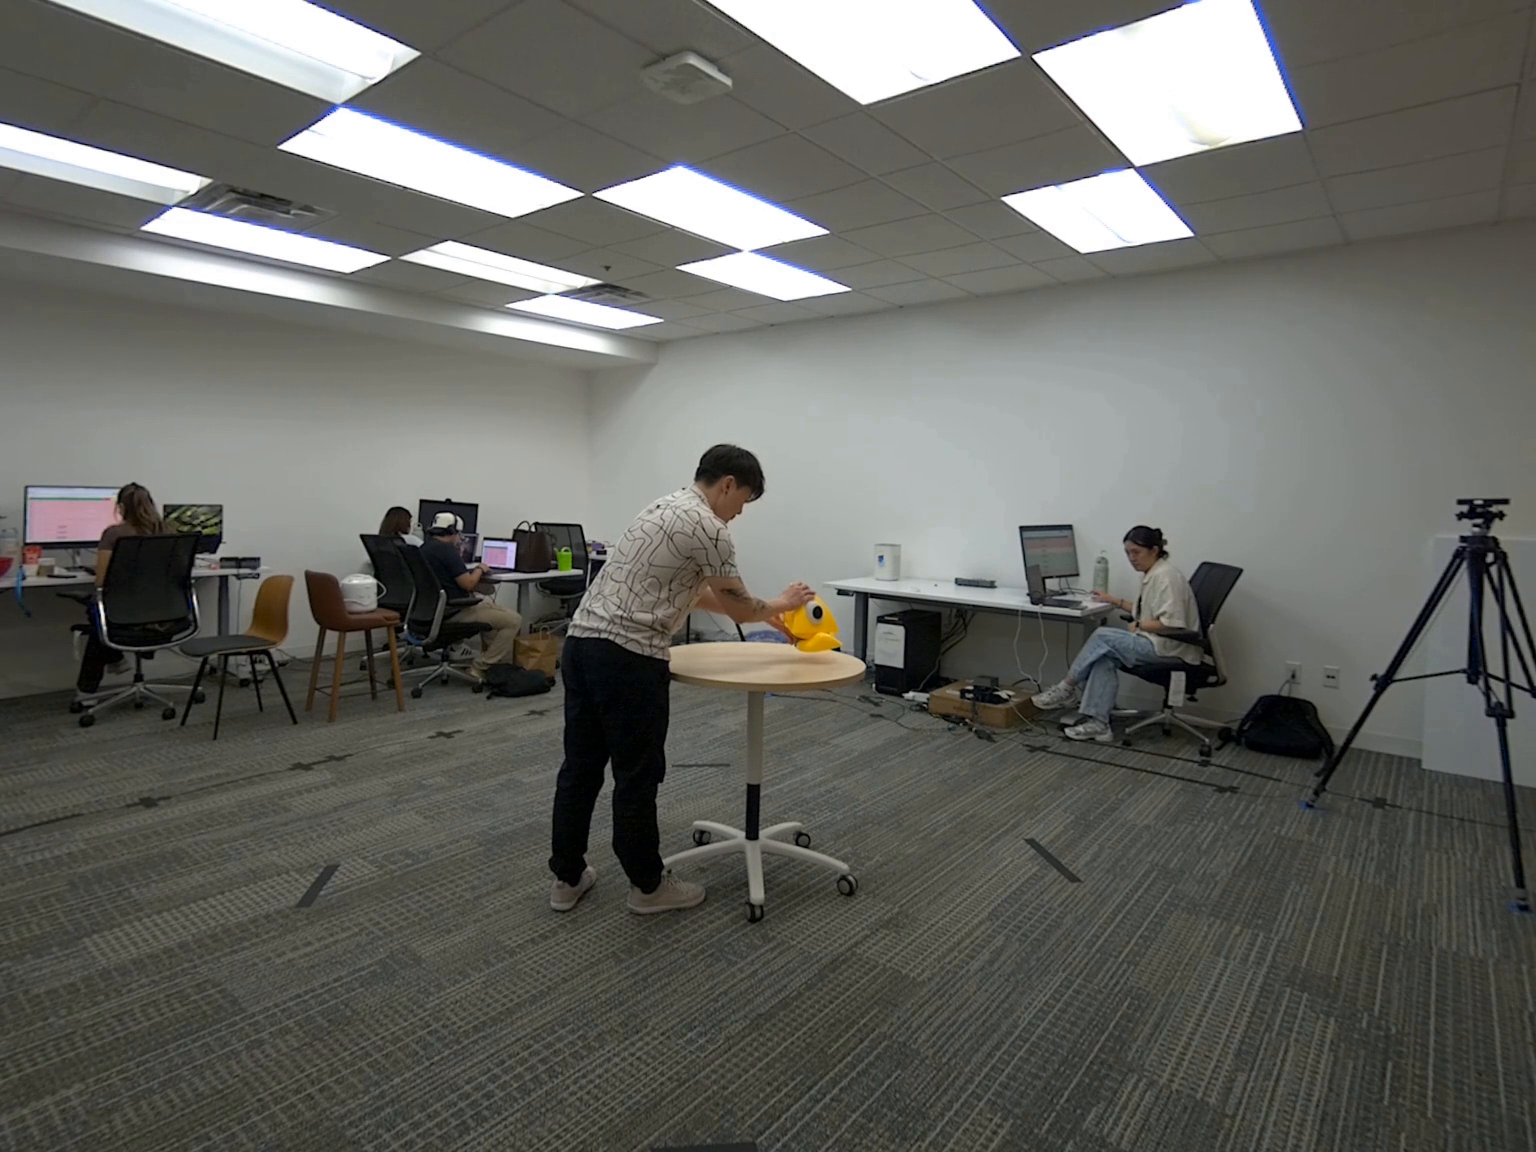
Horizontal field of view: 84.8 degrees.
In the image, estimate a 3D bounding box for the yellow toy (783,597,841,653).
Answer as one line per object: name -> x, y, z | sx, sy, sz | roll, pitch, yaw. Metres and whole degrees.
yellow toy -> 0.144, 0.131, 3.041 | 0.192, 0.228, 0.208 | -7, 9, -6
